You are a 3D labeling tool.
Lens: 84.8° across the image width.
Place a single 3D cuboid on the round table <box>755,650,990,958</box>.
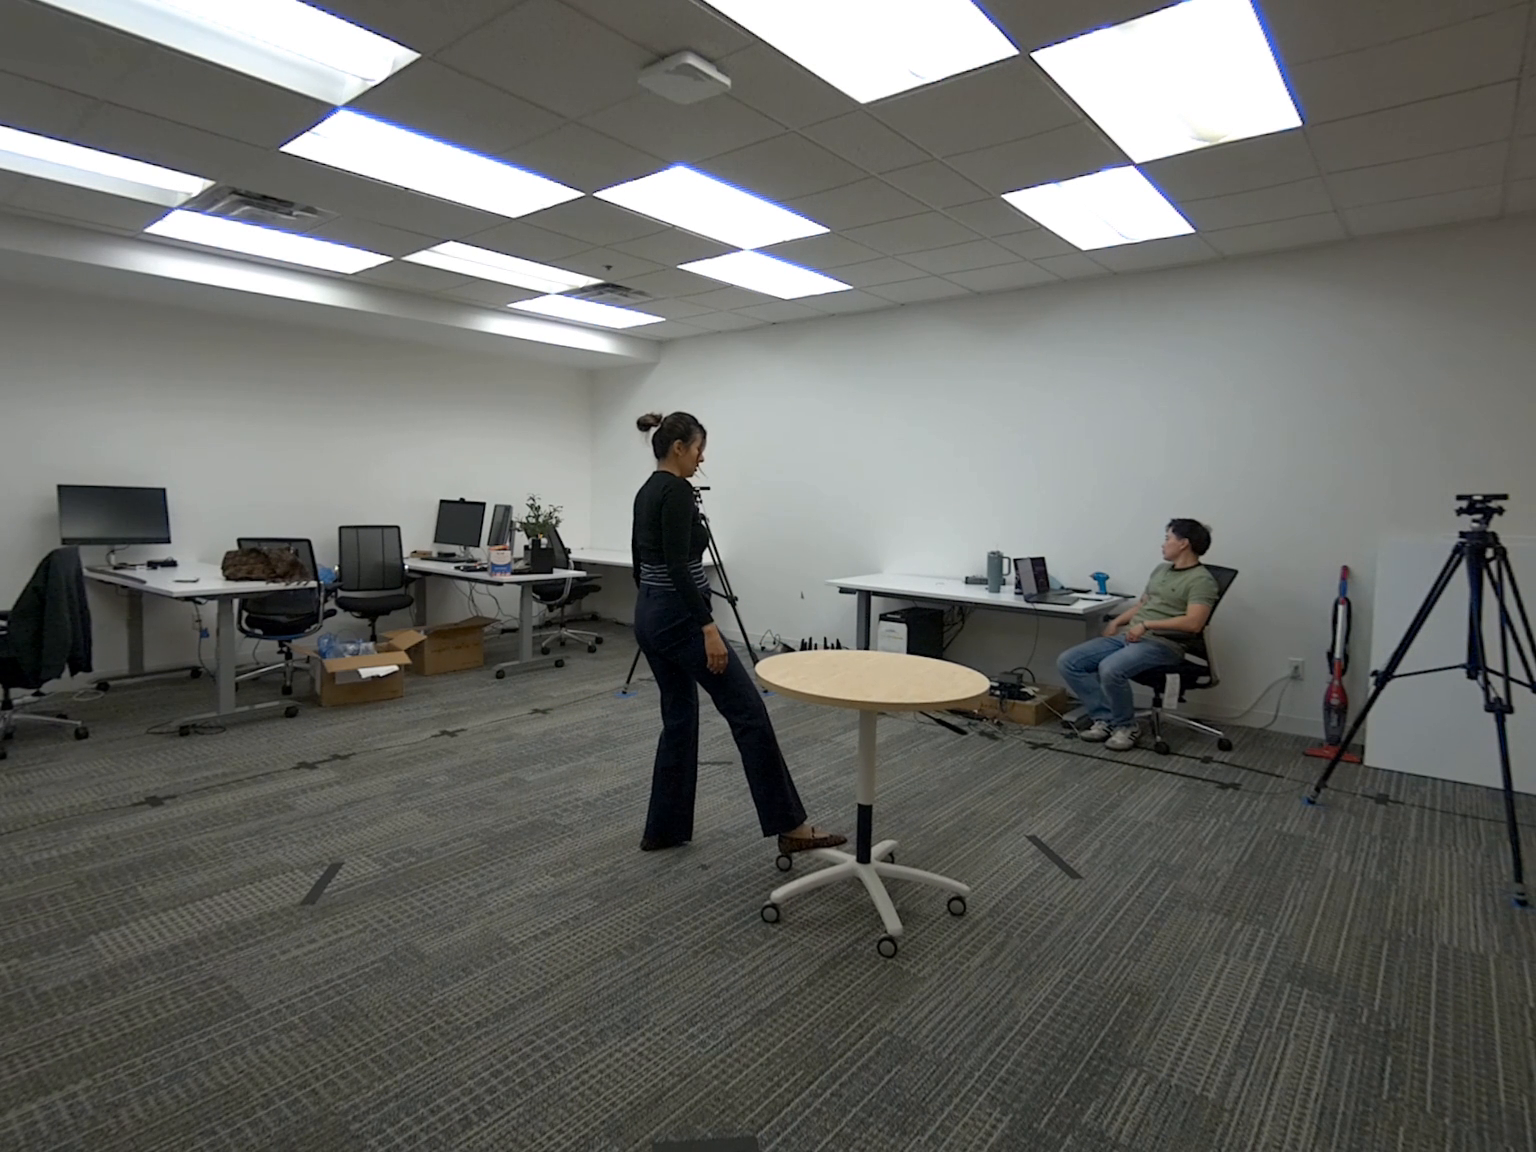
[{"bbox_3d":[0.316,0.712,2.861,0.763,0.791,0.768,2,5,-2],"label":"round table"}]
